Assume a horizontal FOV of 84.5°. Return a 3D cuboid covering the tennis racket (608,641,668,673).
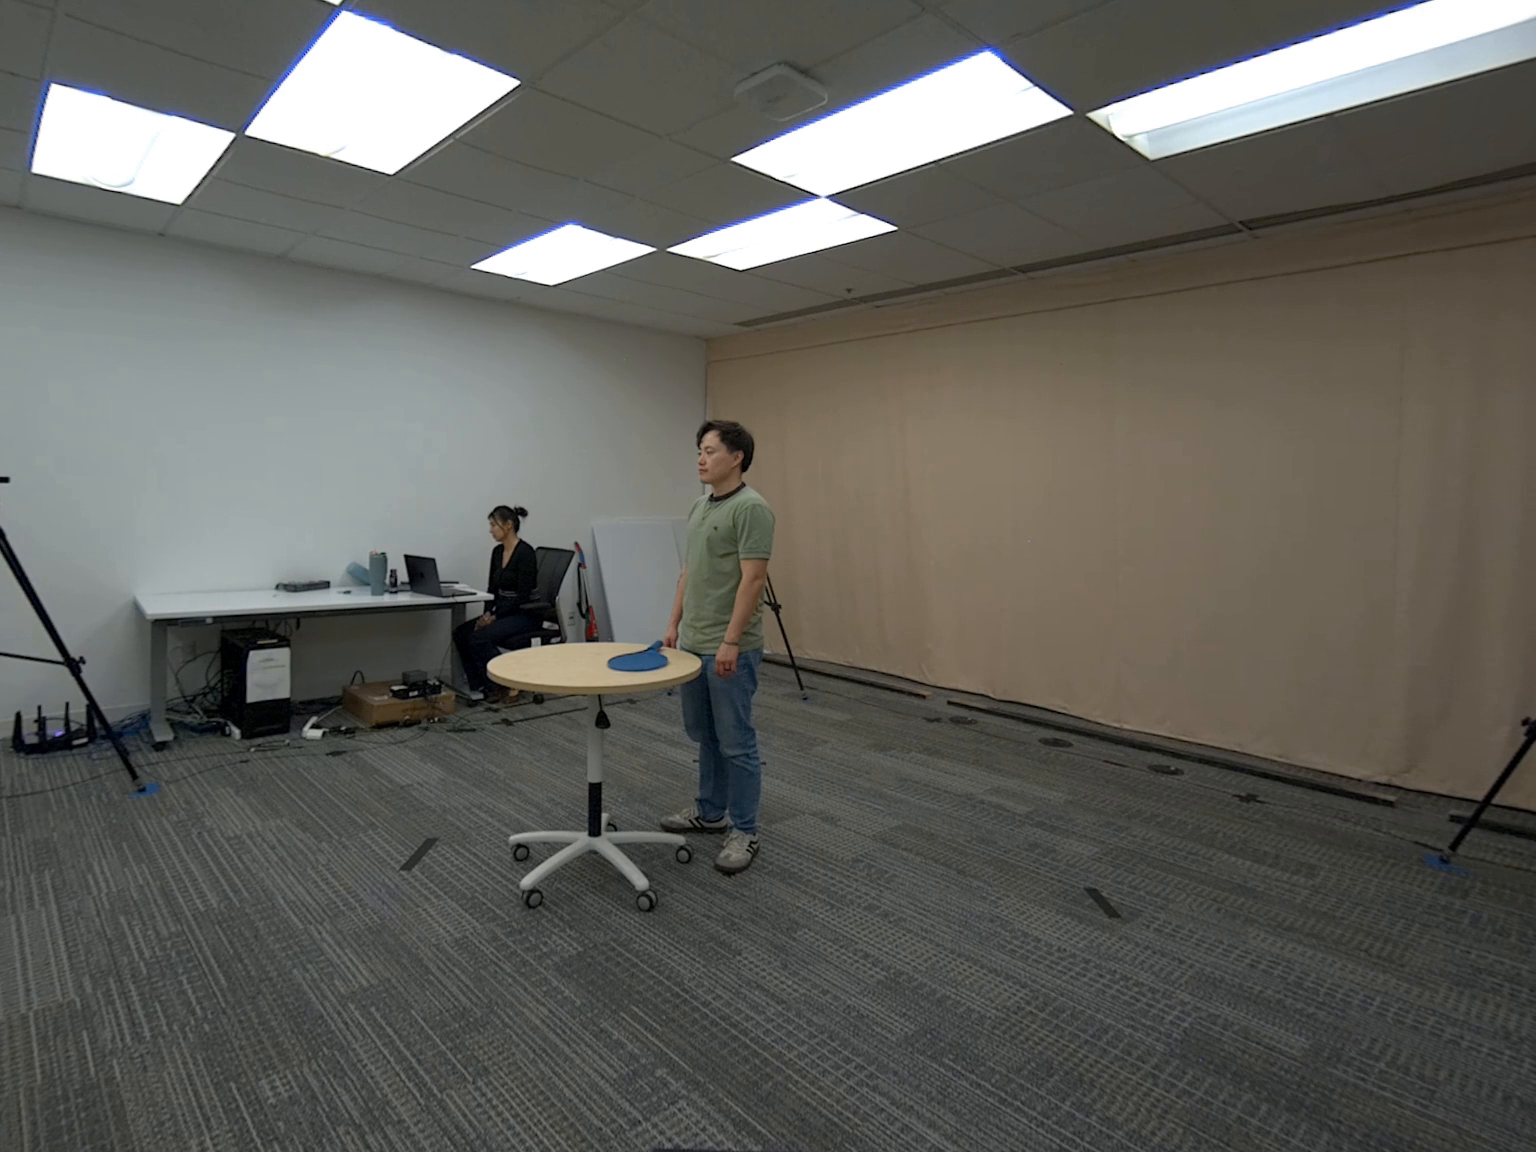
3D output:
[{"bbox_3d":[-0.454,0.300,3.114,0.216,0.031,0.431,2,7,10],"label":"tennis racket"}]
